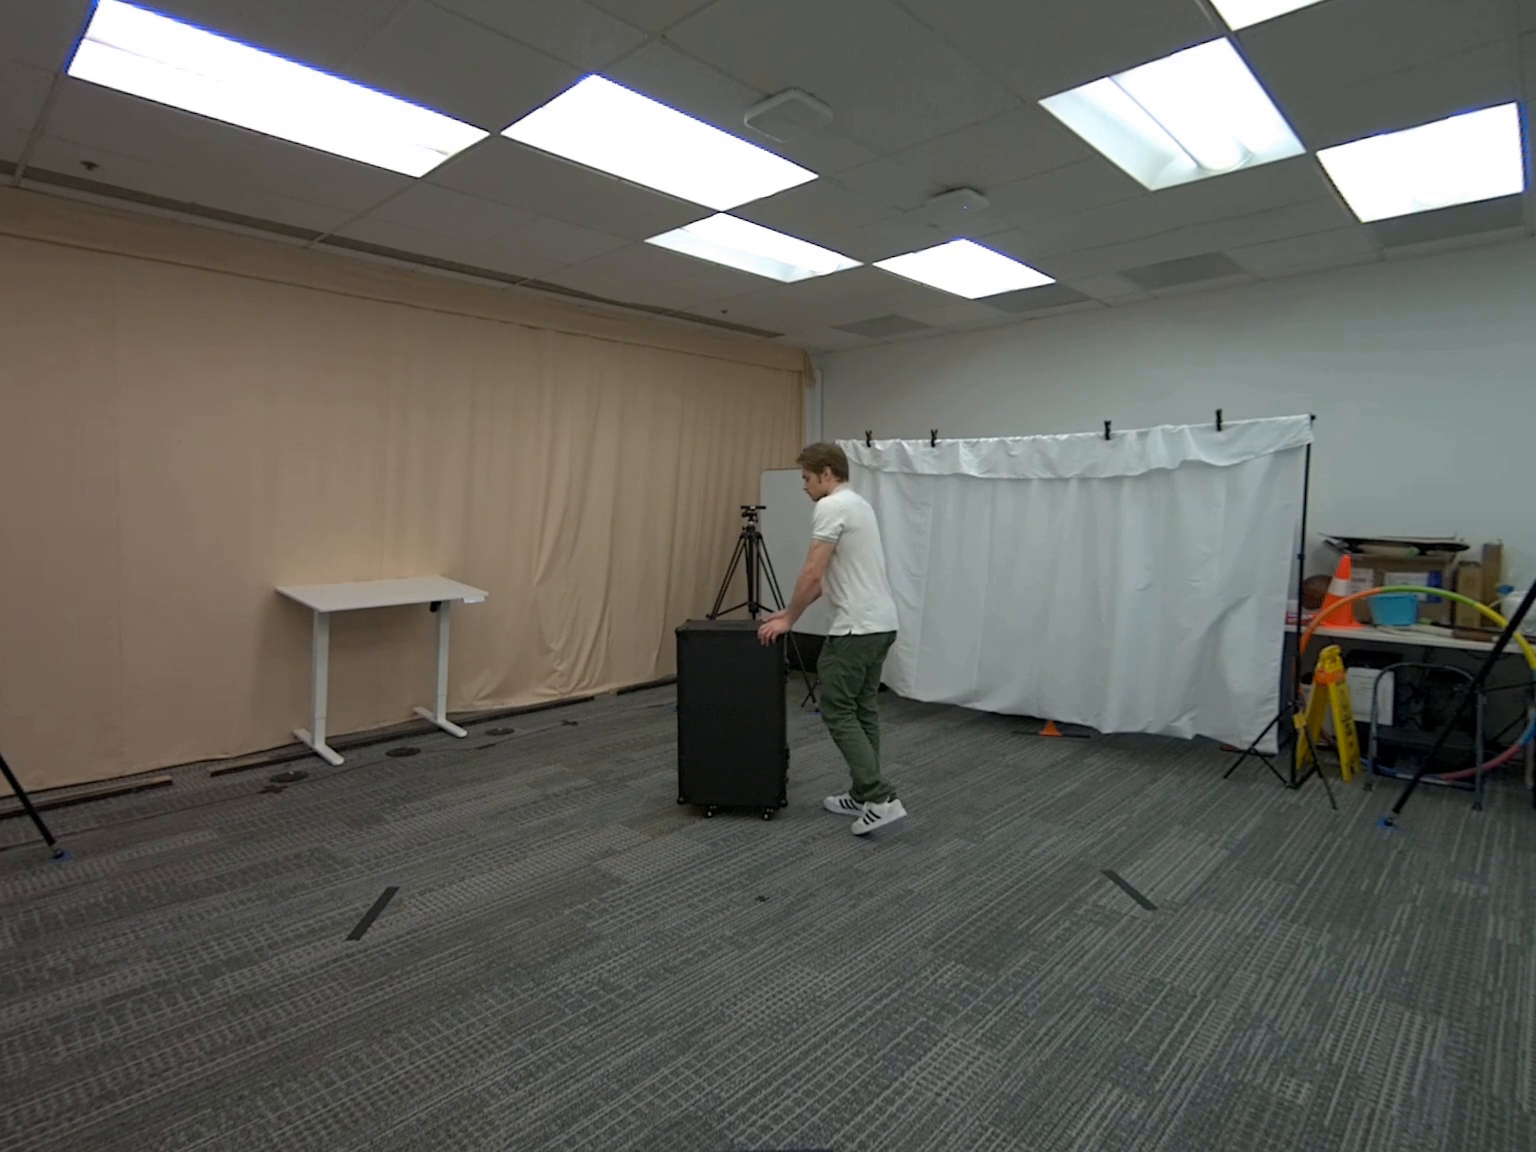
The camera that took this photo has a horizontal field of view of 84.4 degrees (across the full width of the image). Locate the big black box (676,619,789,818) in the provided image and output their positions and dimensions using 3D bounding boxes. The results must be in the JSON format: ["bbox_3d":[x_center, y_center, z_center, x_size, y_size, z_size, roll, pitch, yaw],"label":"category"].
[{"bbox_3d":[-0.160,0.651,3.886,0.526,0.867,0.384,0,2,4],"label":"big black box"}]
